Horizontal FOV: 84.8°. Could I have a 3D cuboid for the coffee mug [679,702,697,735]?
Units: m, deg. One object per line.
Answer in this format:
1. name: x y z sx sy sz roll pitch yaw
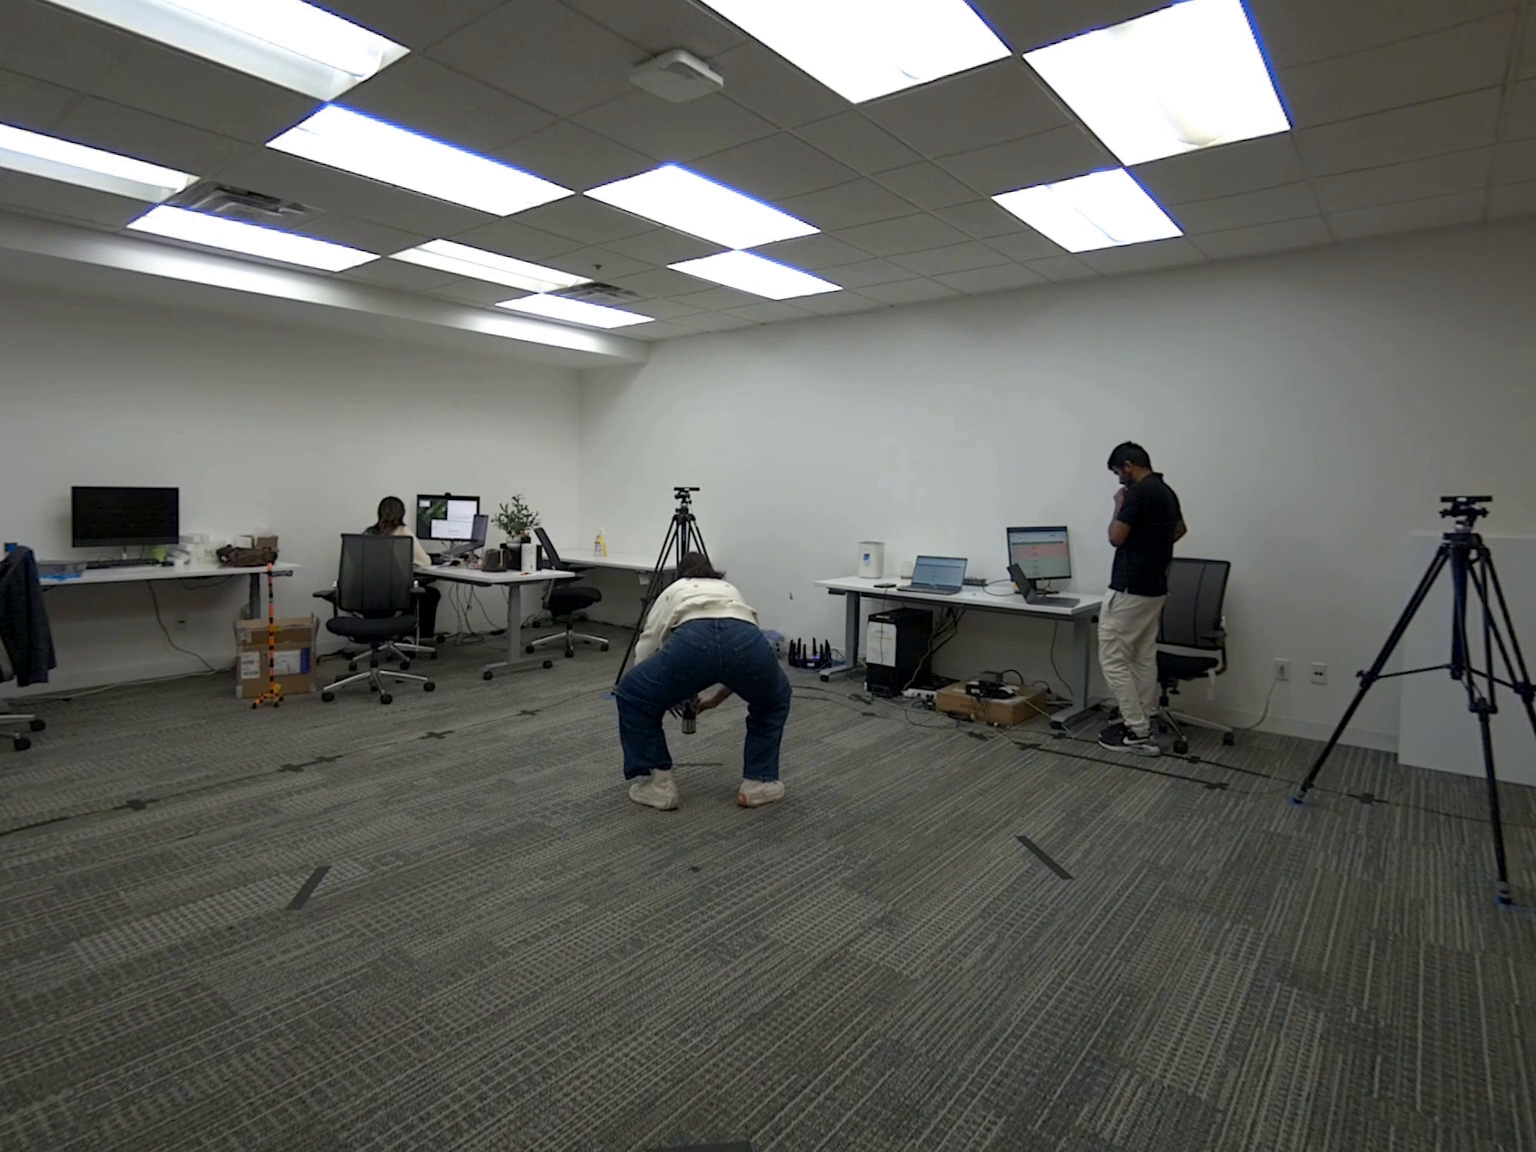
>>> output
1. coffee mug: -0.390 0.669 4.206 0.091 0.201 0.119 6 13 38
